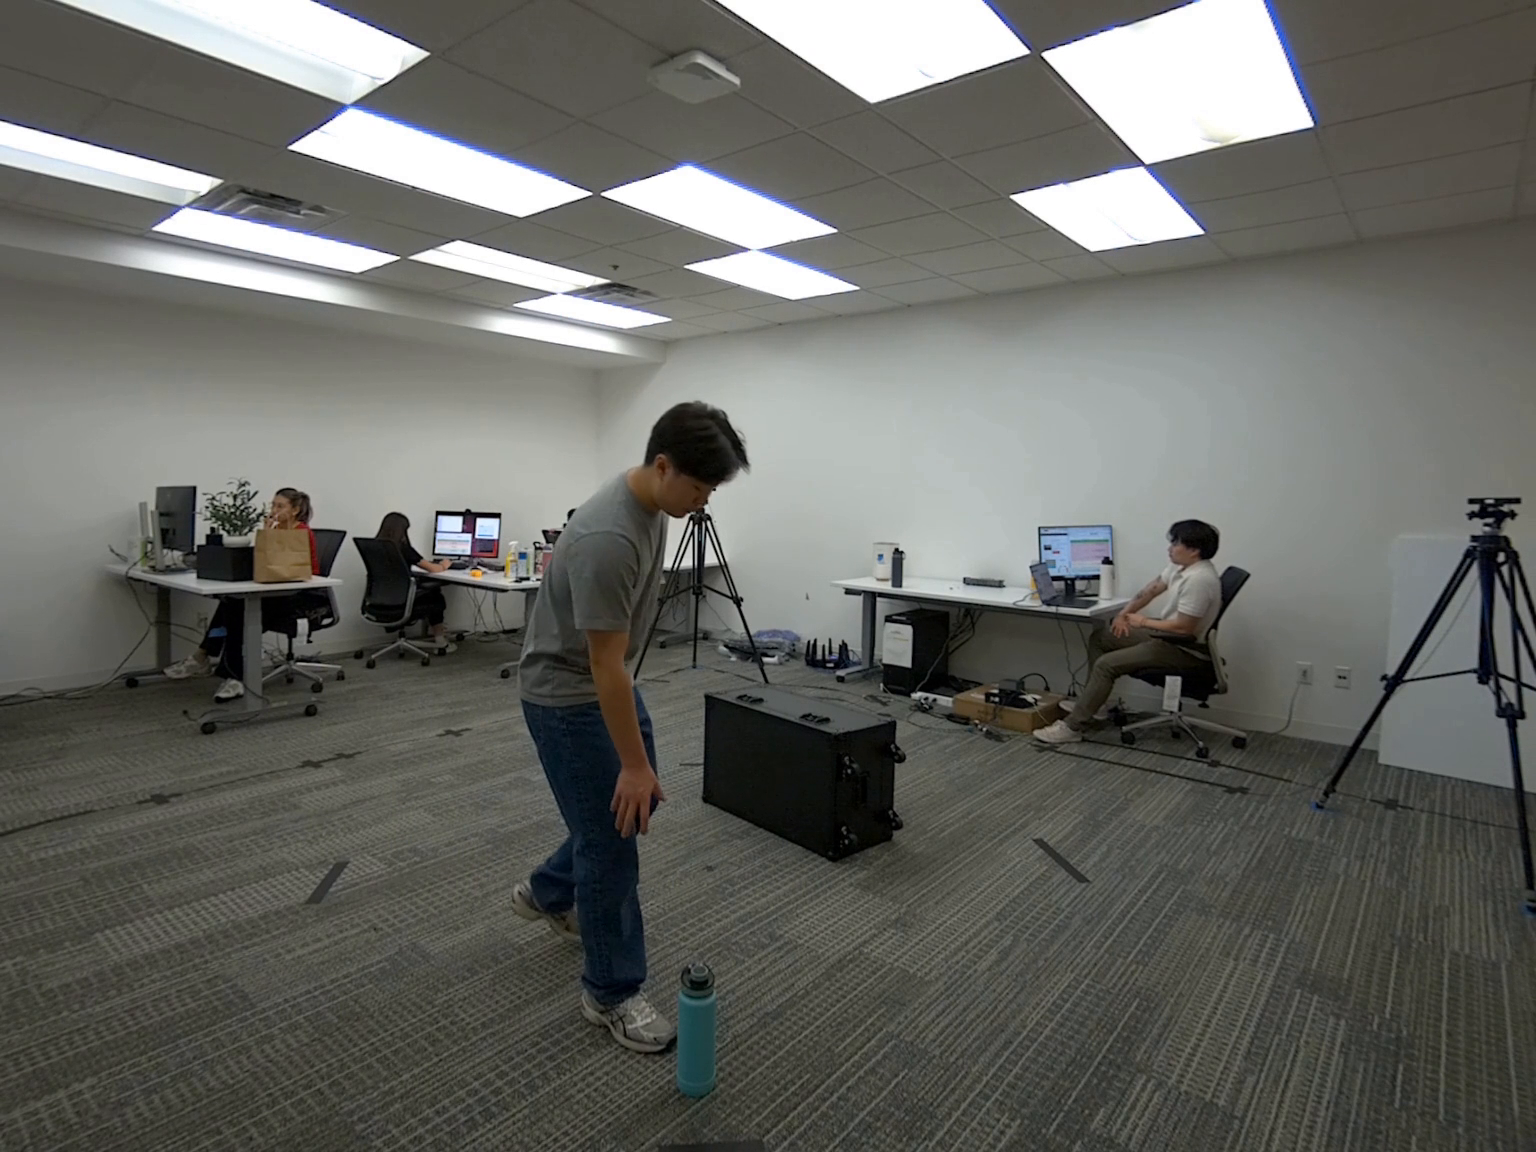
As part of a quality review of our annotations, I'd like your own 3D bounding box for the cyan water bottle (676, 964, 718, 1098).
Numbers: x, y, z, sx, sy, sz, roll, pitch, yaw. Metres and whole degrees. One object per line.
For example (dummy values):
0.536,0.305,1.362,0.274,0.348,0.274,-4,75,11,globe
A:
-0.173,1.046,1.969,0.092,0.283,0.093,0,3,-2,cyan water bottle
